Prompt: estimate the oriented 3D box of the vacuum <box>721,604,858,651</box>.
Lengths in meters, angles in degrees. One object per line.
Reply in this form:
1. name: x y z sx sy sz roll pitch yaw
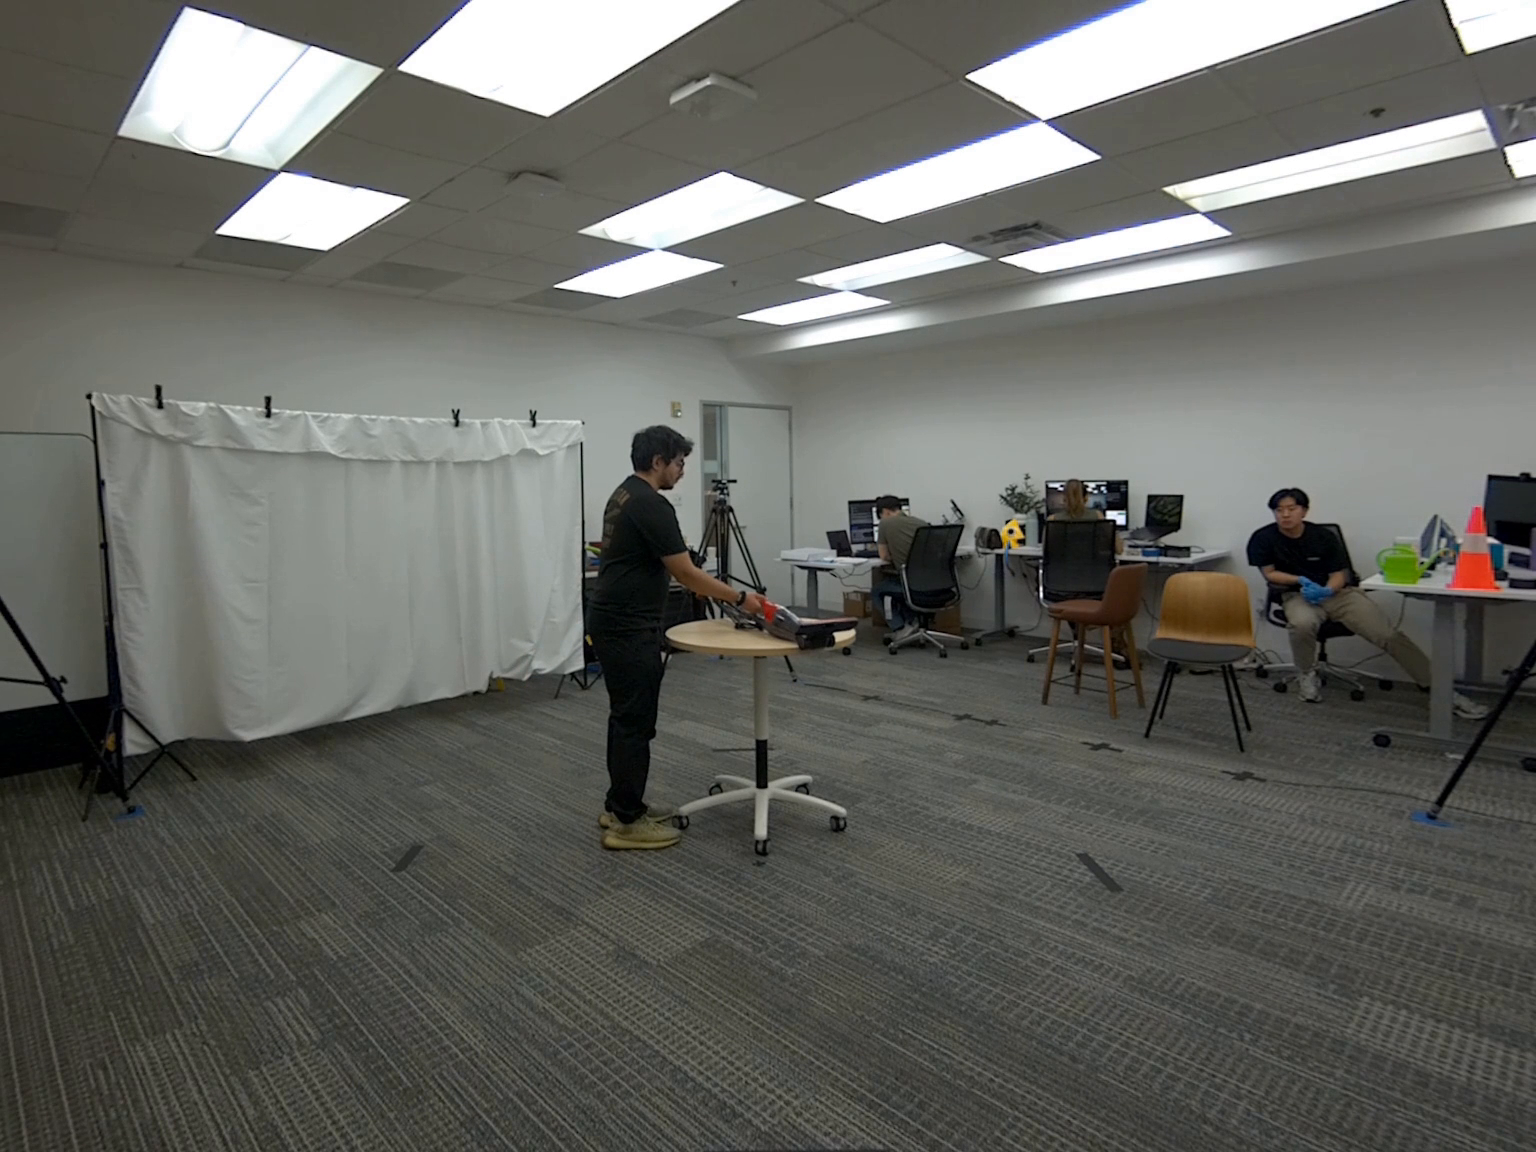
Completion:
1. vacuum: -0.068 0.163 3.532 0.246 0.143 1.079 0 6 -30
